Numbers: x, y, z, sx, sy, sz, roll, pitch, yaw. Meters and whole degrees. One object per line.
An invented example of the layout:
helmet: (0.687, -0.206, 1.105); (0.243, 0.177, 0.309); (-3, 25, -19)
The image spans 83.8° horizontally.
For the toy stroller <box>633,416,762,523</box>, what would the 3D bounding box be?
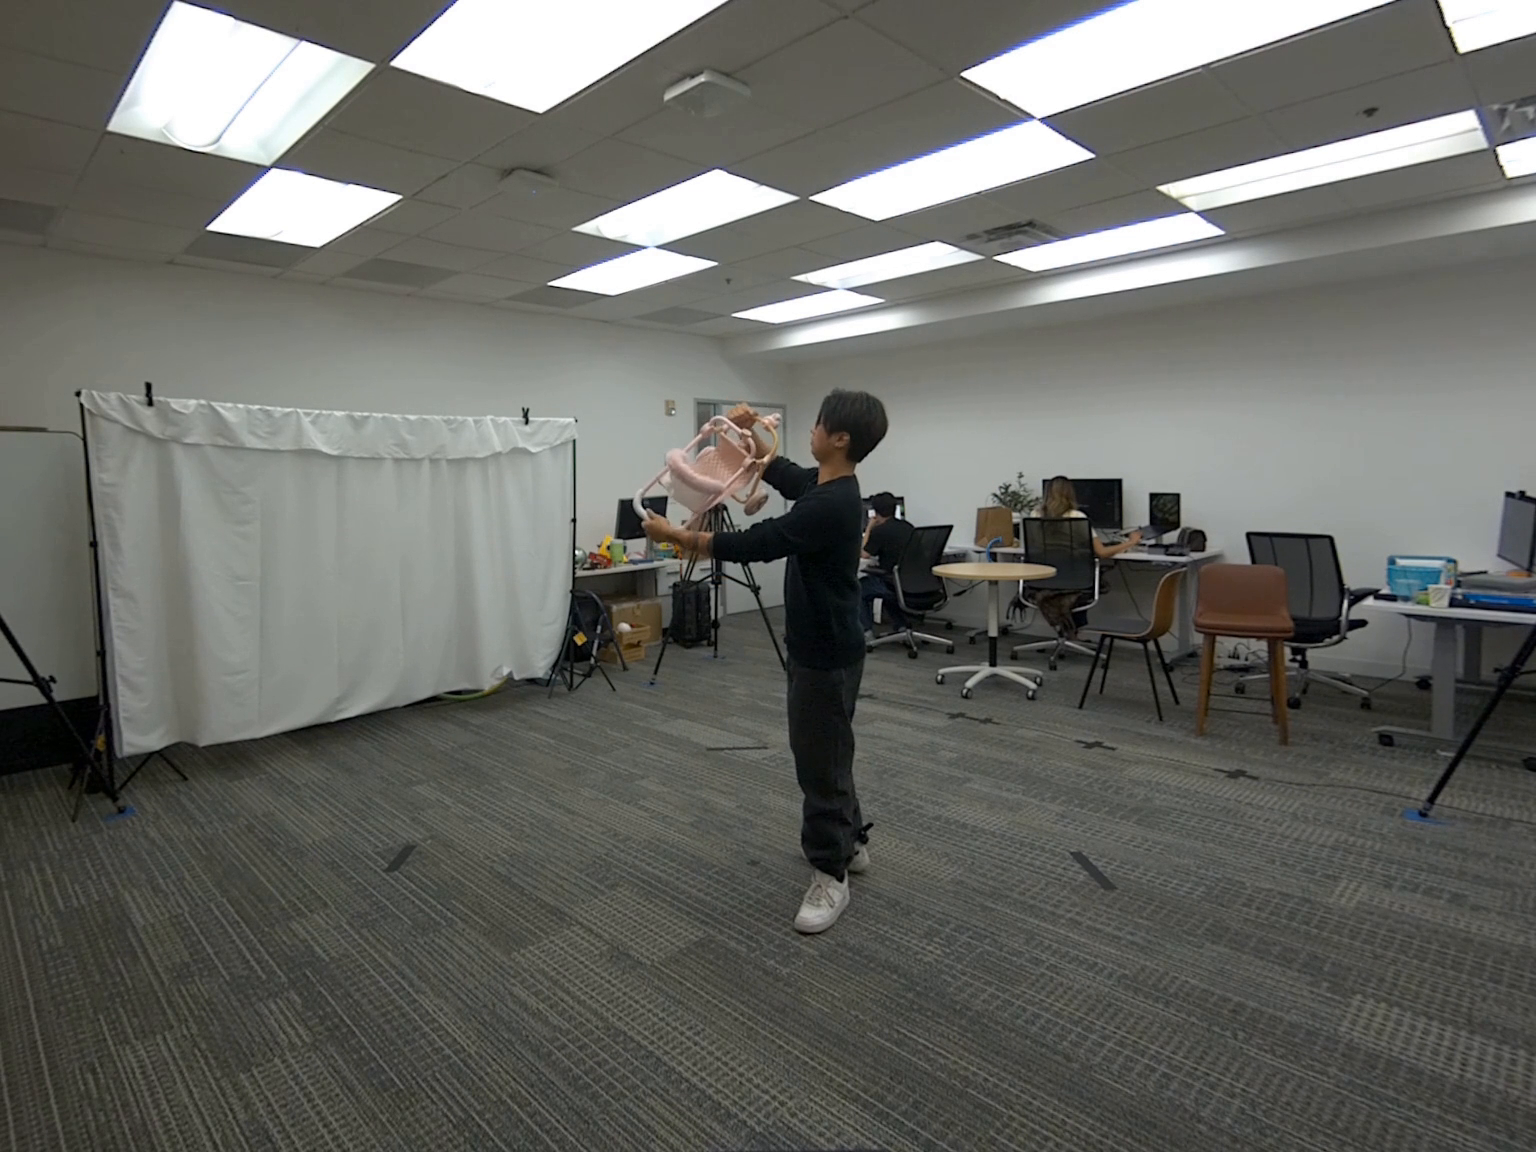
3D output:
toy stroller: (-0.160, -0.359, 2.809); (0.287, 0.339, 0.527); (44, 37, 14)
